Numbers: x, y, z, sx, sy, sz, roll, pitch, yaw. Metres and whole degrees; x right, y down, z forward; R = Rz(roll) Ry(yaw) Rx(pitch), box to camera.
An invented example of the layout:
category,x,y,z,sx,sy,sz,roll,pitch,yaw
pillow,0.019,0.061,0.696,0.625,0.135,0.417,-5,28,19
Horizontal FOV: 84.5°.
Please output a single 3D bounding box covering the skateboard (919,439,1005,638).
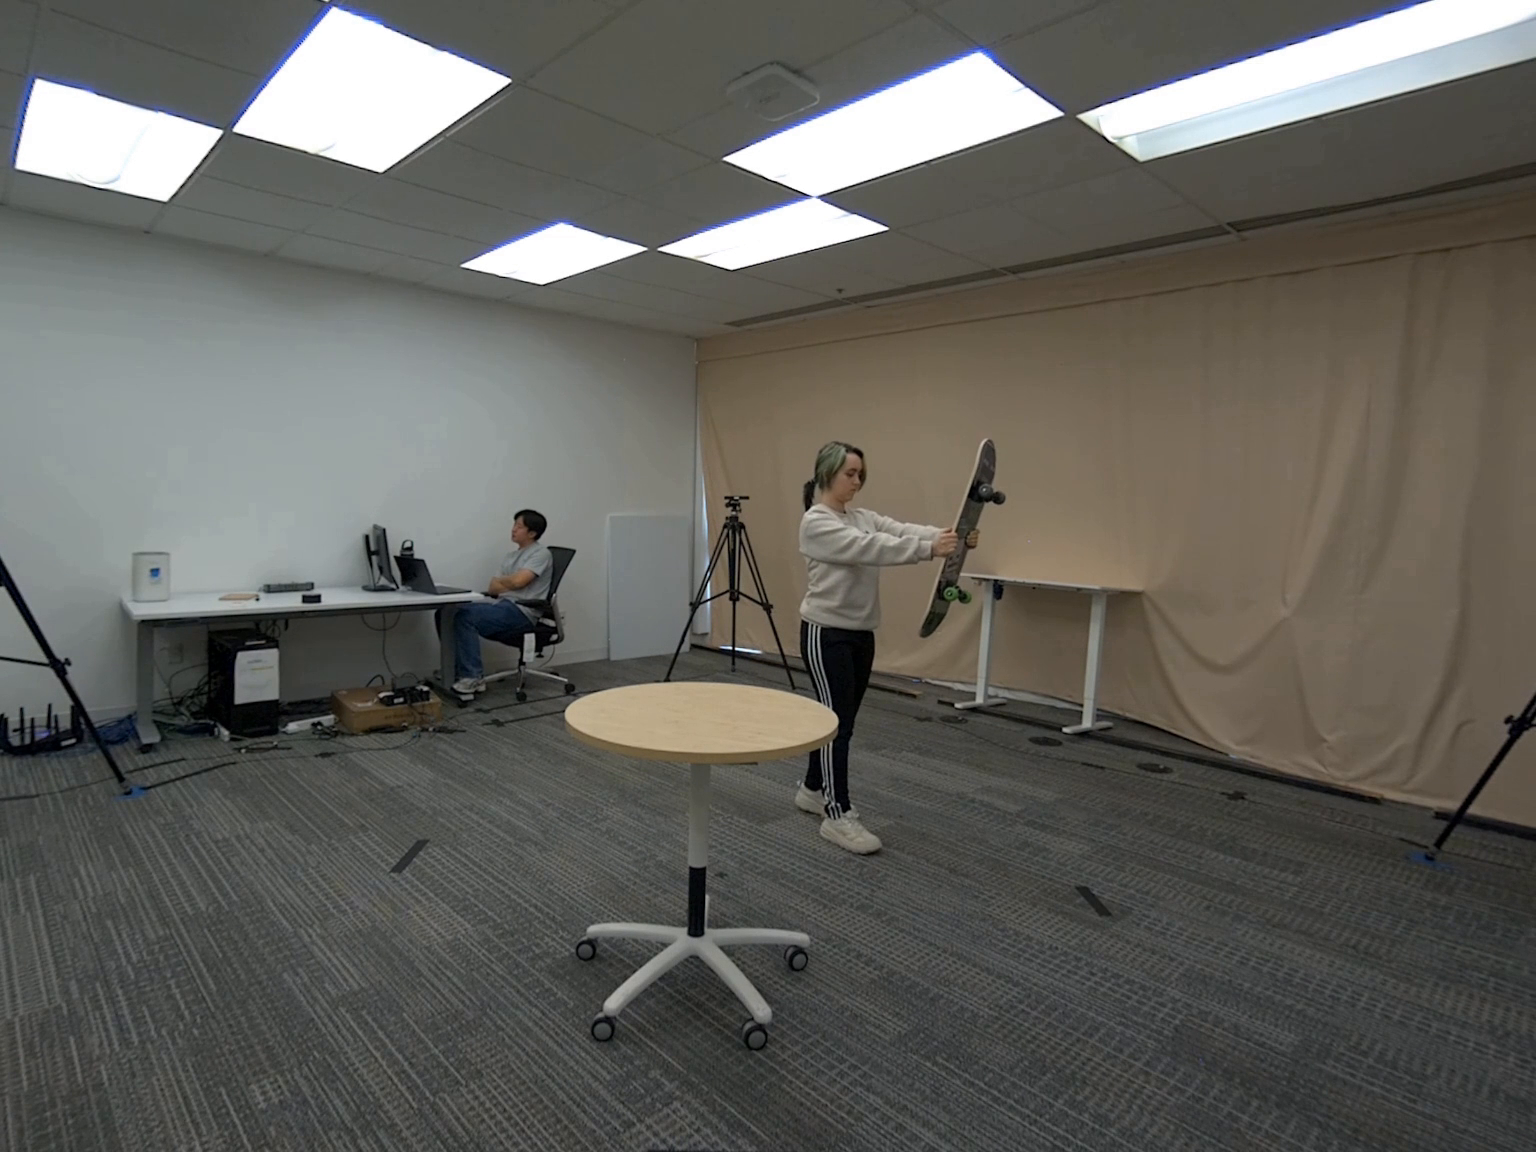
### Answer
category,x,y,z,sx,sy,sz,roll,pitch,yaw
skateboard,0.743,-0.122,3.158,0.113,0.784,0.188,21,4,34
